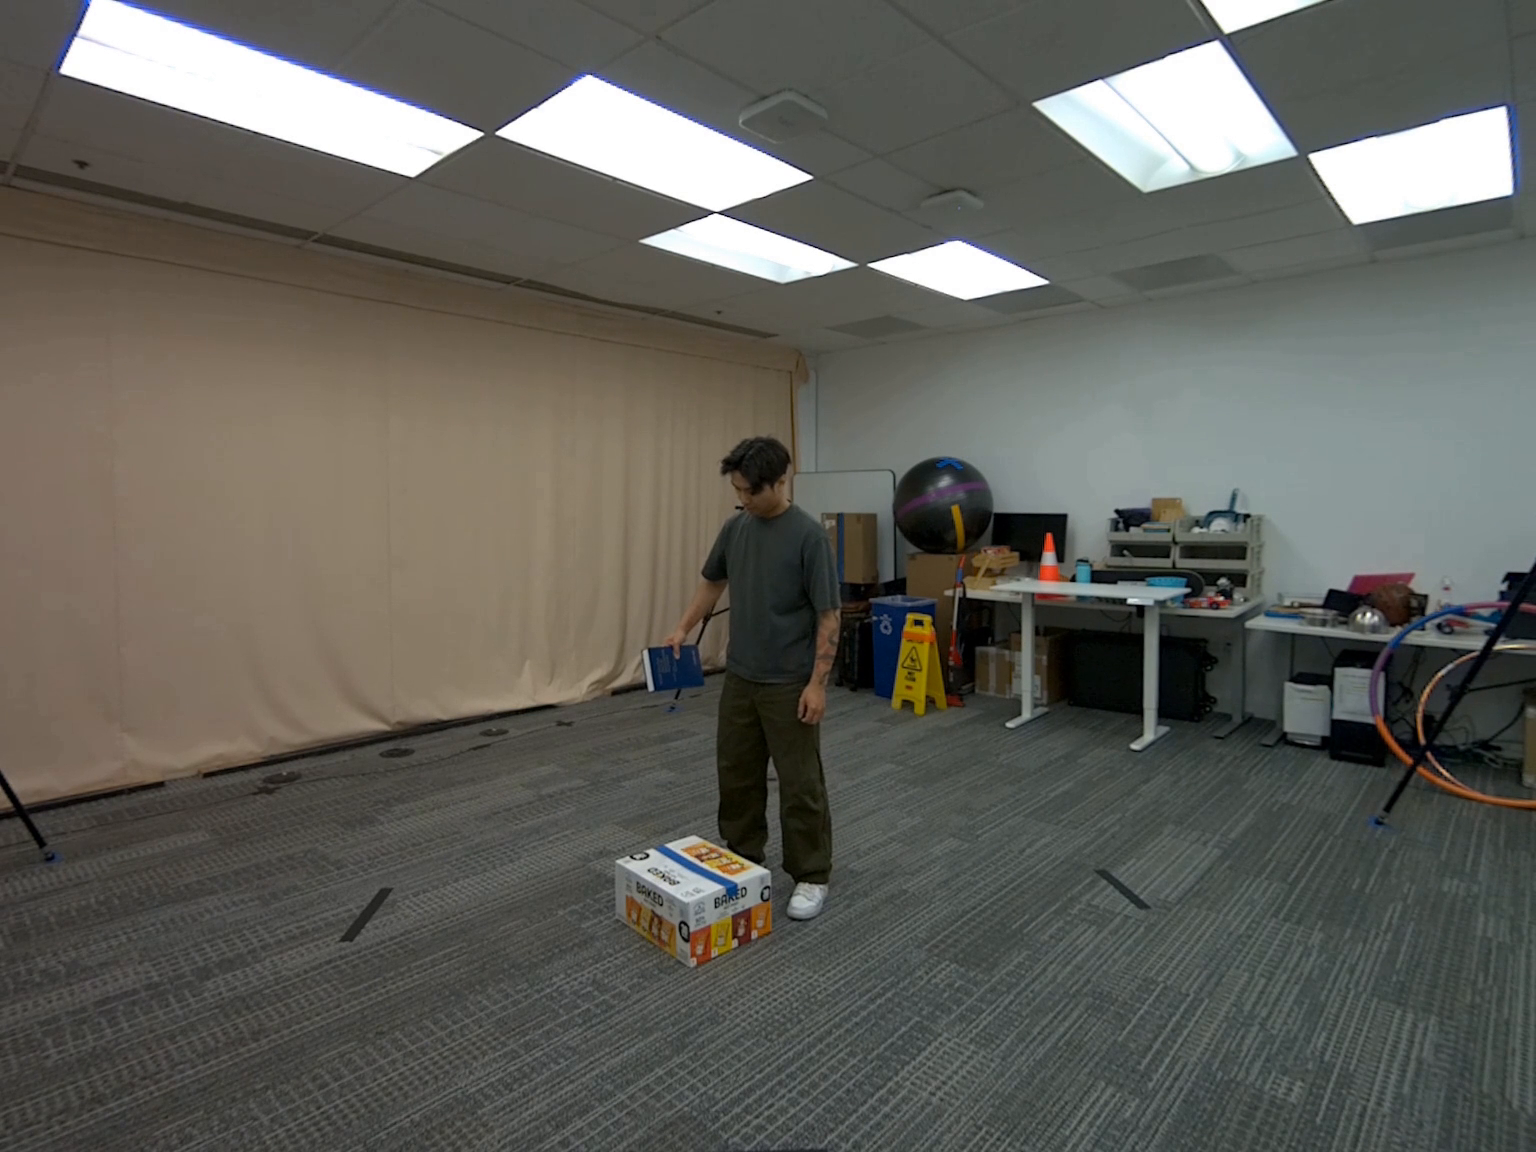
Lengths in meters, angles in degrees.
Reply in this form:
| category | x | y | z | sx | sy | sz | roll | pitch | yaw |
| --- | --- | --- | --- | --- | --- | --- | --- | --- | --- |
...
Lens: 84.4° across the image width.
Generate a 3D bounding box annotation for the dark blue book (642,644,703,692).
| category | x | y | z | sx | sy | sz | roll | pitch | yaw |
| --- | --- | --- | --- | --- | --- | --- | --- | --- | --- |
| dark blue book | -0.356 | 0.350 | 3.198 | 0.237 | 0.165 | 0.046 | 1 | -17 | -43 |
